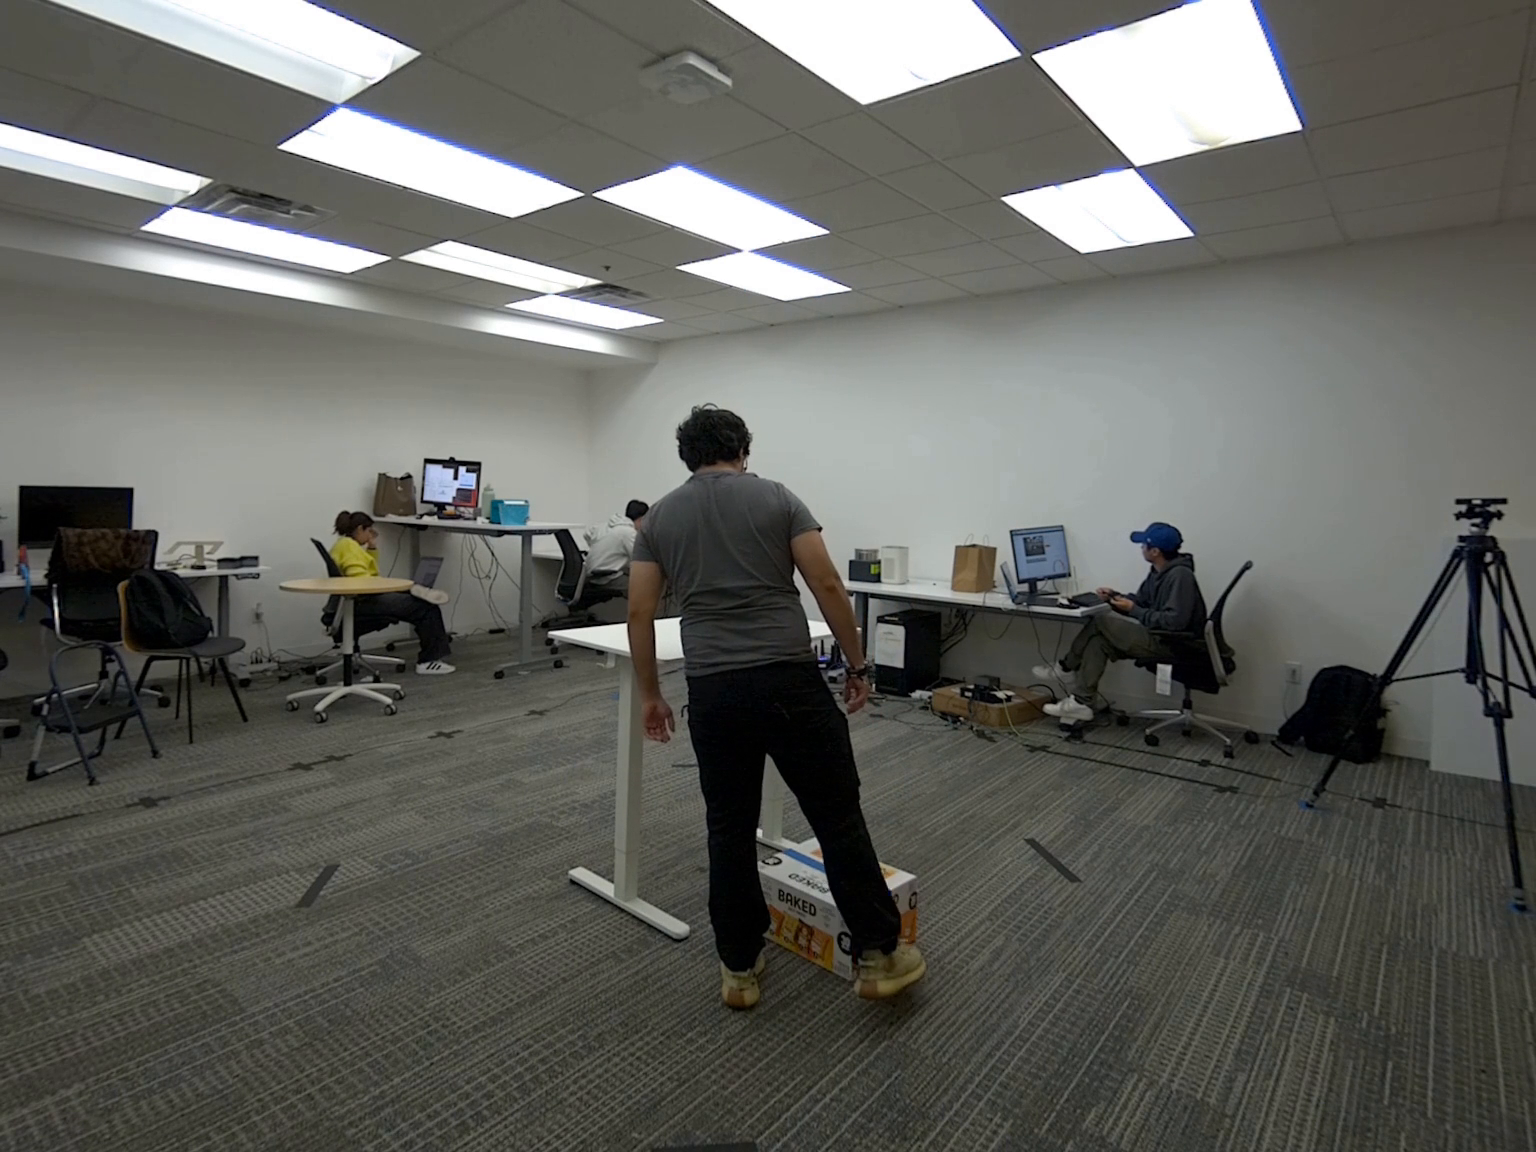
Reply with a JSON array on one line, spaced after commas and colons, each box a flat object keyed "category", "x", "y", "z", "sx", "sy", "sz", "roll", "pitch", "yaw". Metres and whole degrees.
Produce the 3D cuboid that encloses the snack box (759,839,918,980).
[{"category": "snack box", "x": 0.193, "y": 1.022, "z": 2.660, "sx": 0.419, "sy": 0.205, "sz": 0.330, "roll": 6, "pitch": 7, "yaw": 43}]
